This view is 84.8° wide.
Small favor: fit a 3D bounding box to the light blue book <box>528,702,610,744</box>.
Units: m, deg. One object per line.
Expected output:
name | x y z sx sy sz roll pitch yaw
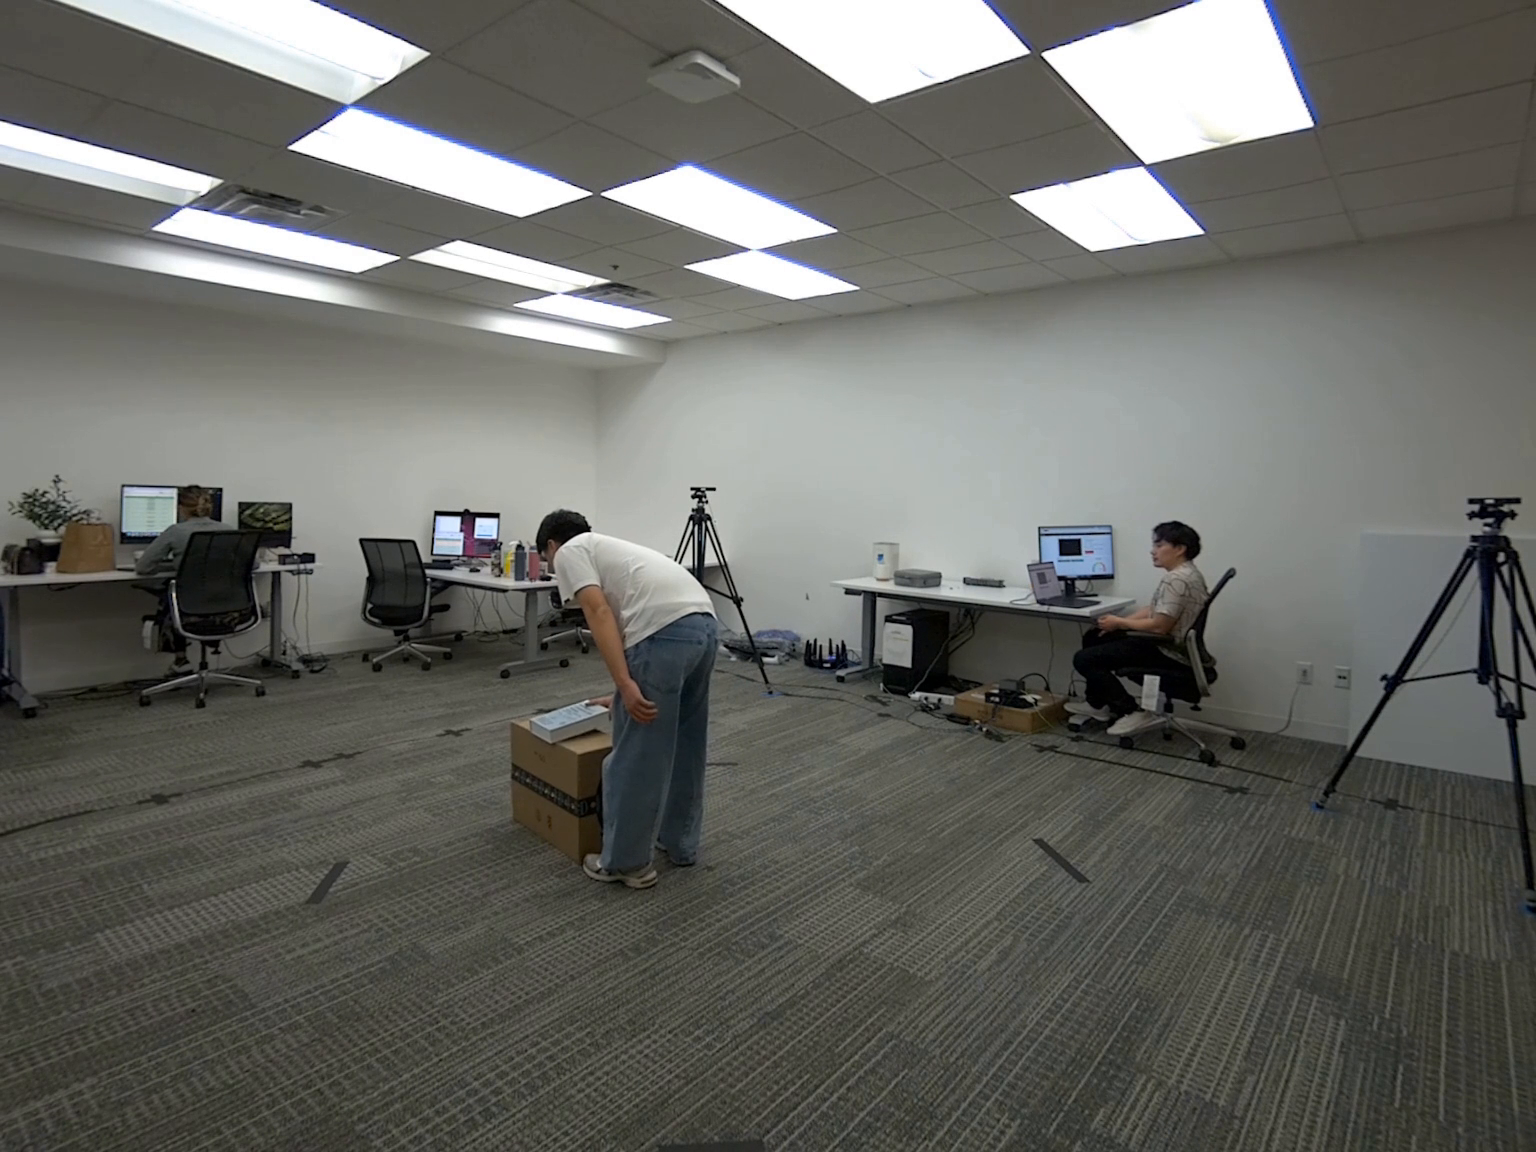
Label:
light blue book | -0.797 0.574 3.361 0.255 0.058 0.198 -14 14 -38
